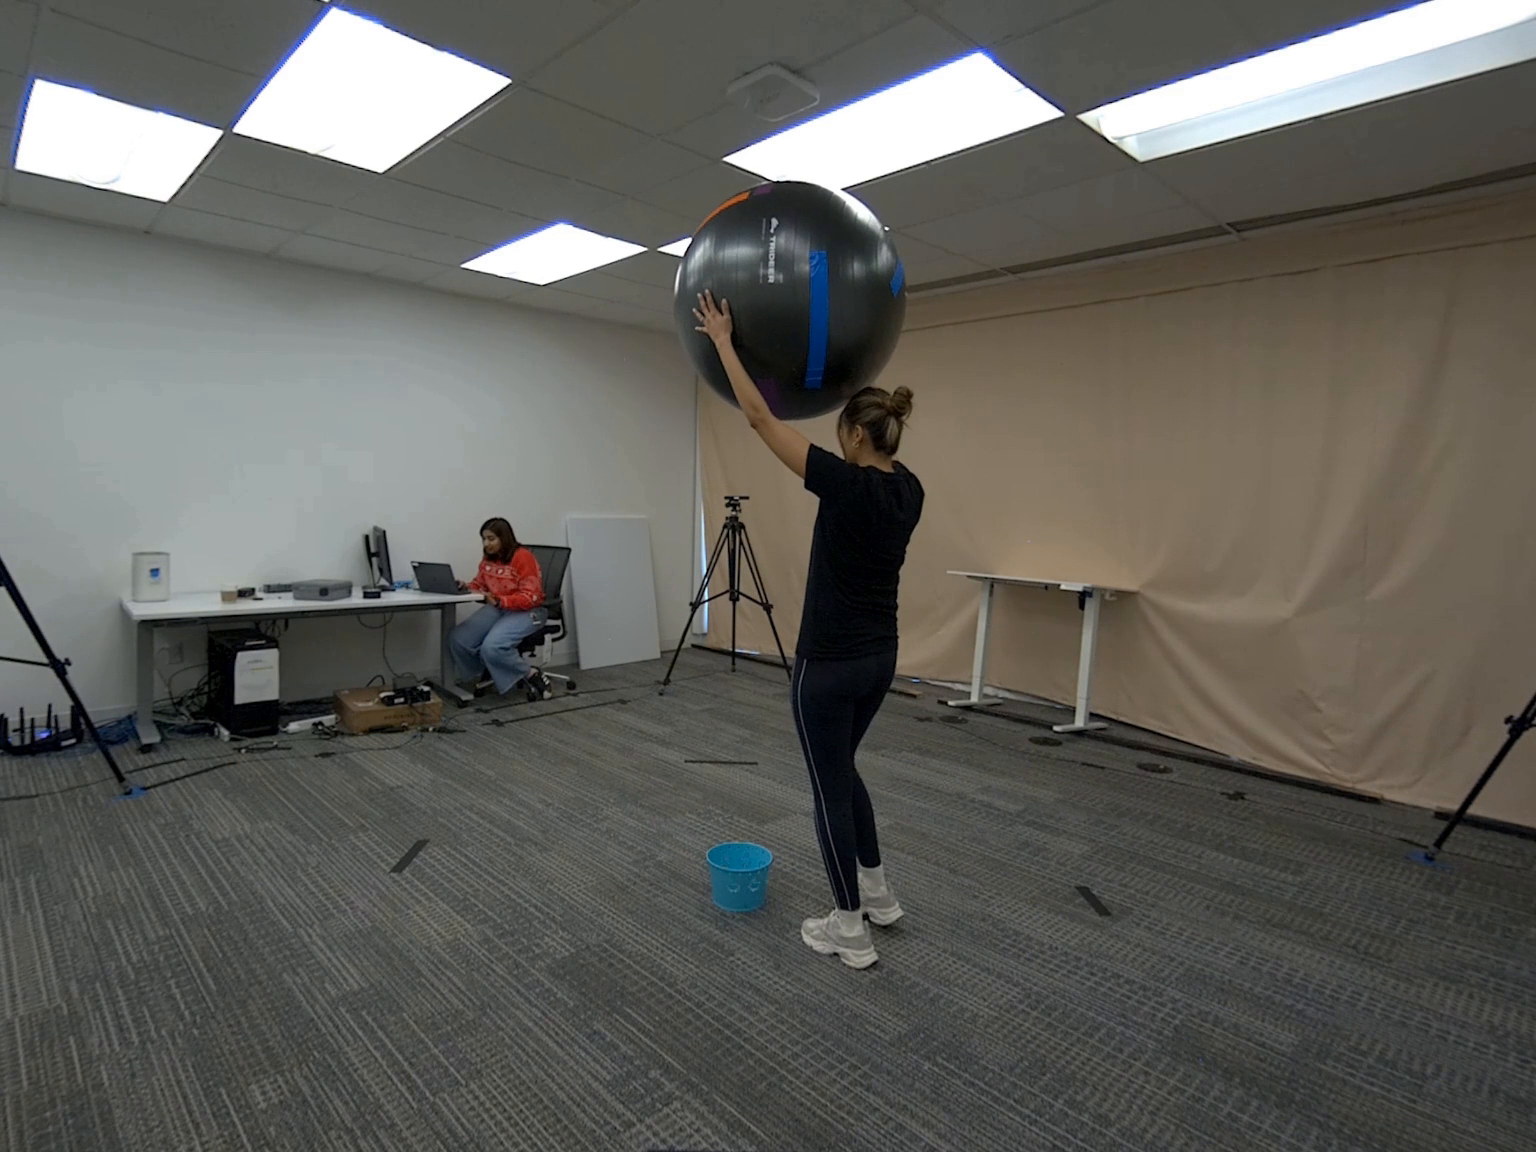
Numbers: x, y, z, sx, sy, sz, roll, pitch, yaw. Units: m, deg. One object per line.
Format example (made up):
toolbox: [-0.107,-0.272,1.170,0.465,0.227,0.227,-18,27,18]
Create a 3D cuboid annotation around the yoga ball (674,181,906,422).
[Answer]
yoga ball: [0.065,-0.887,2.772,0.757,0.756,0.761,1,4,-1]
